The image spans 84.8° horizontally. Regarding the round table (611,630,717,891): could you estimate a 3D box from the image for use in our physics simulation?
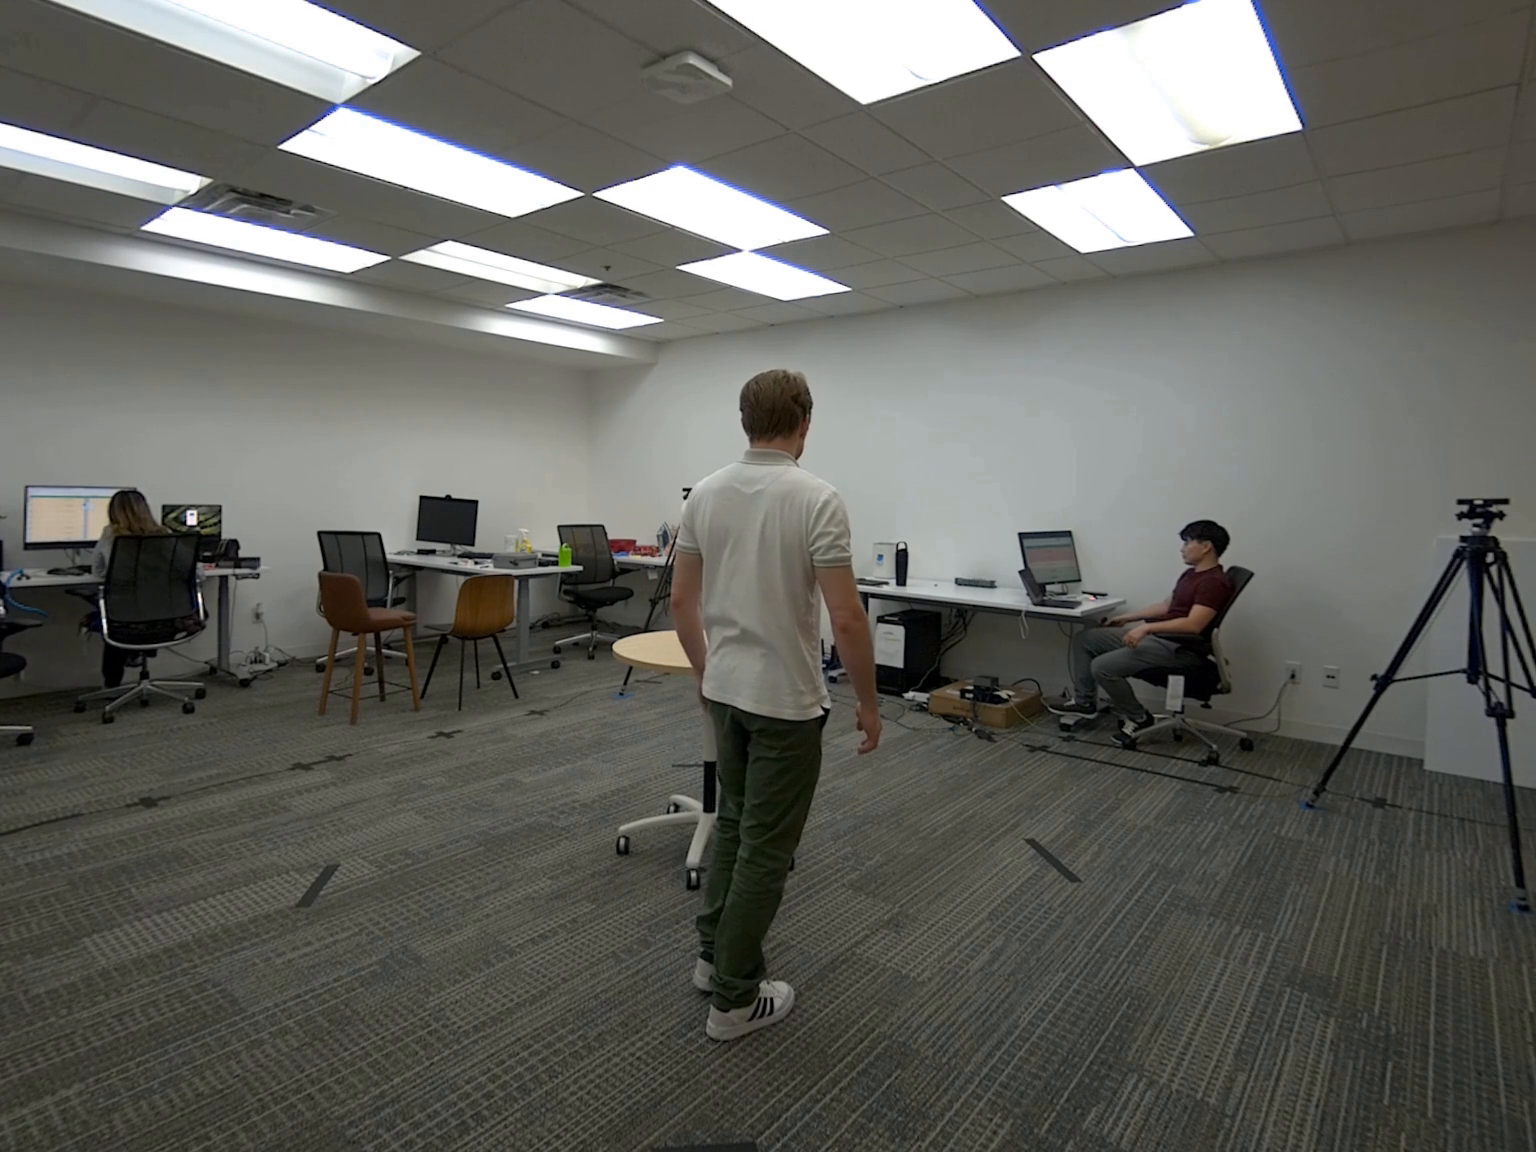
[{"bbox_3d":[-0.237,0.663,3.286,0.763,0.791,0.768,1,4,-2],"label":"round table"}]
